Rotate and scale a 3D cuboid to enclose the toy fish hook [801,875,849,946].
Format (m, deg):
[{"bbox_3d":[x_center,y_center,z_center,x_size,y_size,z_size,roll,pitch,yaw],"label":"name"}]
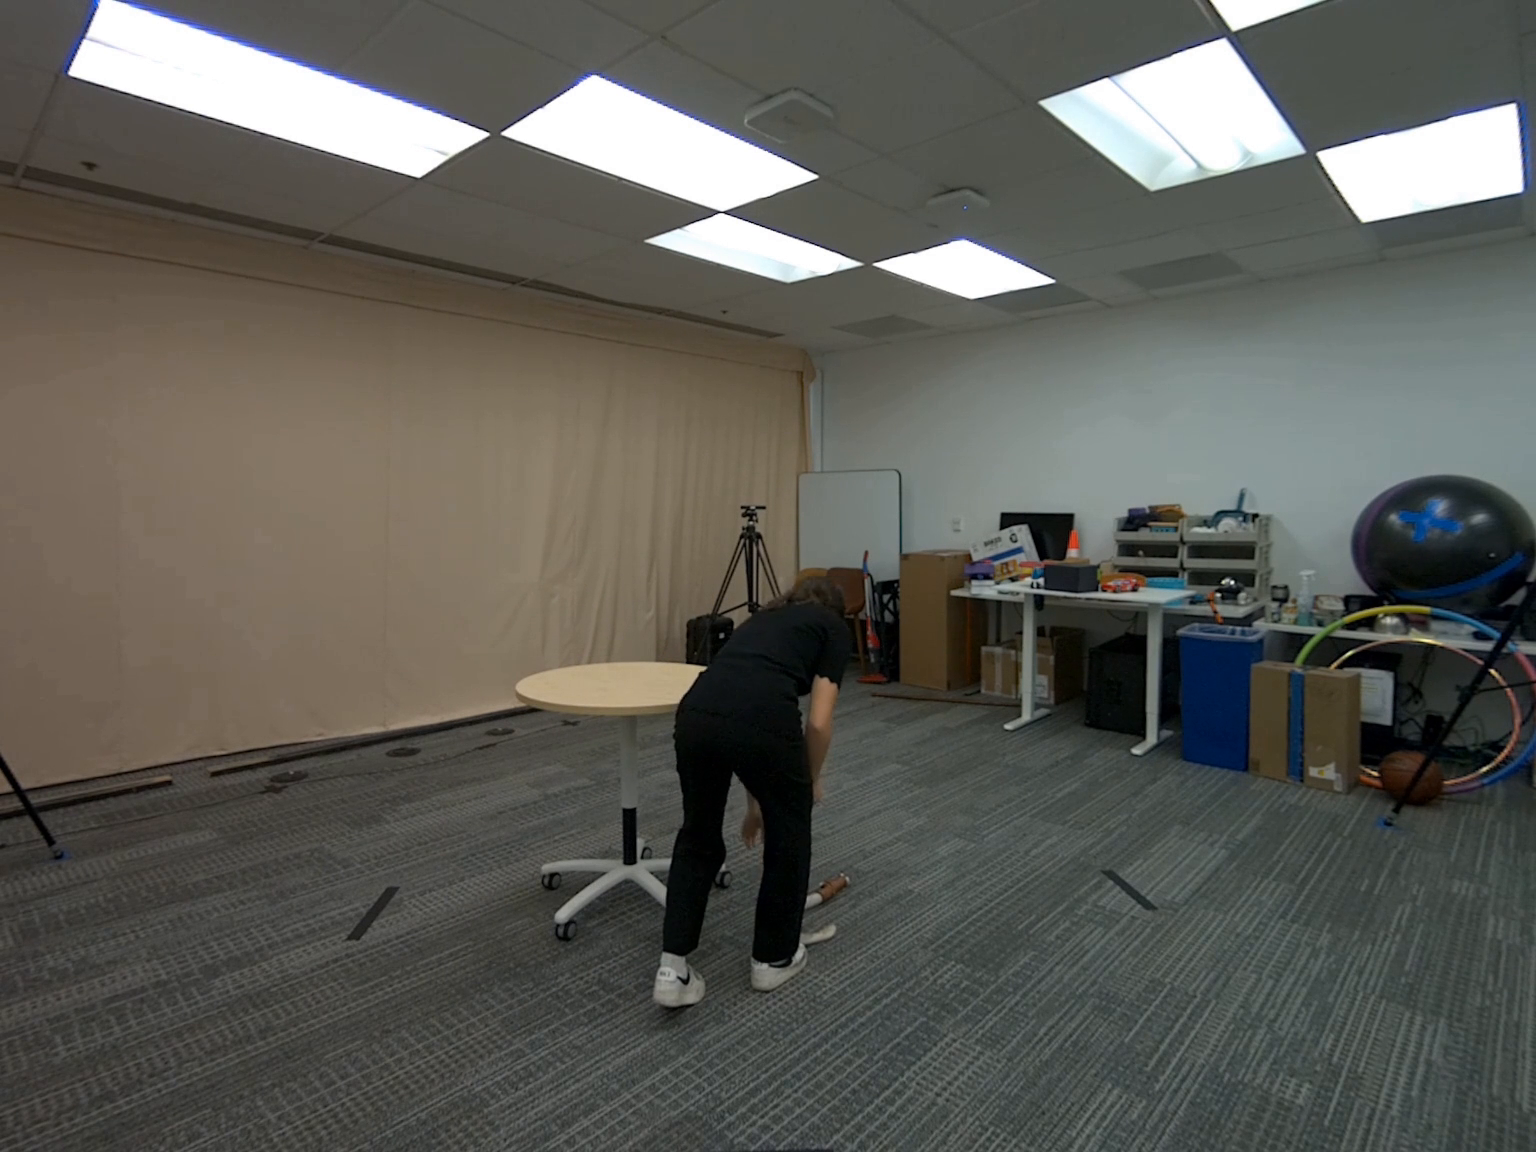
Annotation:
[{"bbox_3d":[0.182,1.136,2.867,0.232,0.048,0.492,13,13,36],"label":"toy fish hook"}]
